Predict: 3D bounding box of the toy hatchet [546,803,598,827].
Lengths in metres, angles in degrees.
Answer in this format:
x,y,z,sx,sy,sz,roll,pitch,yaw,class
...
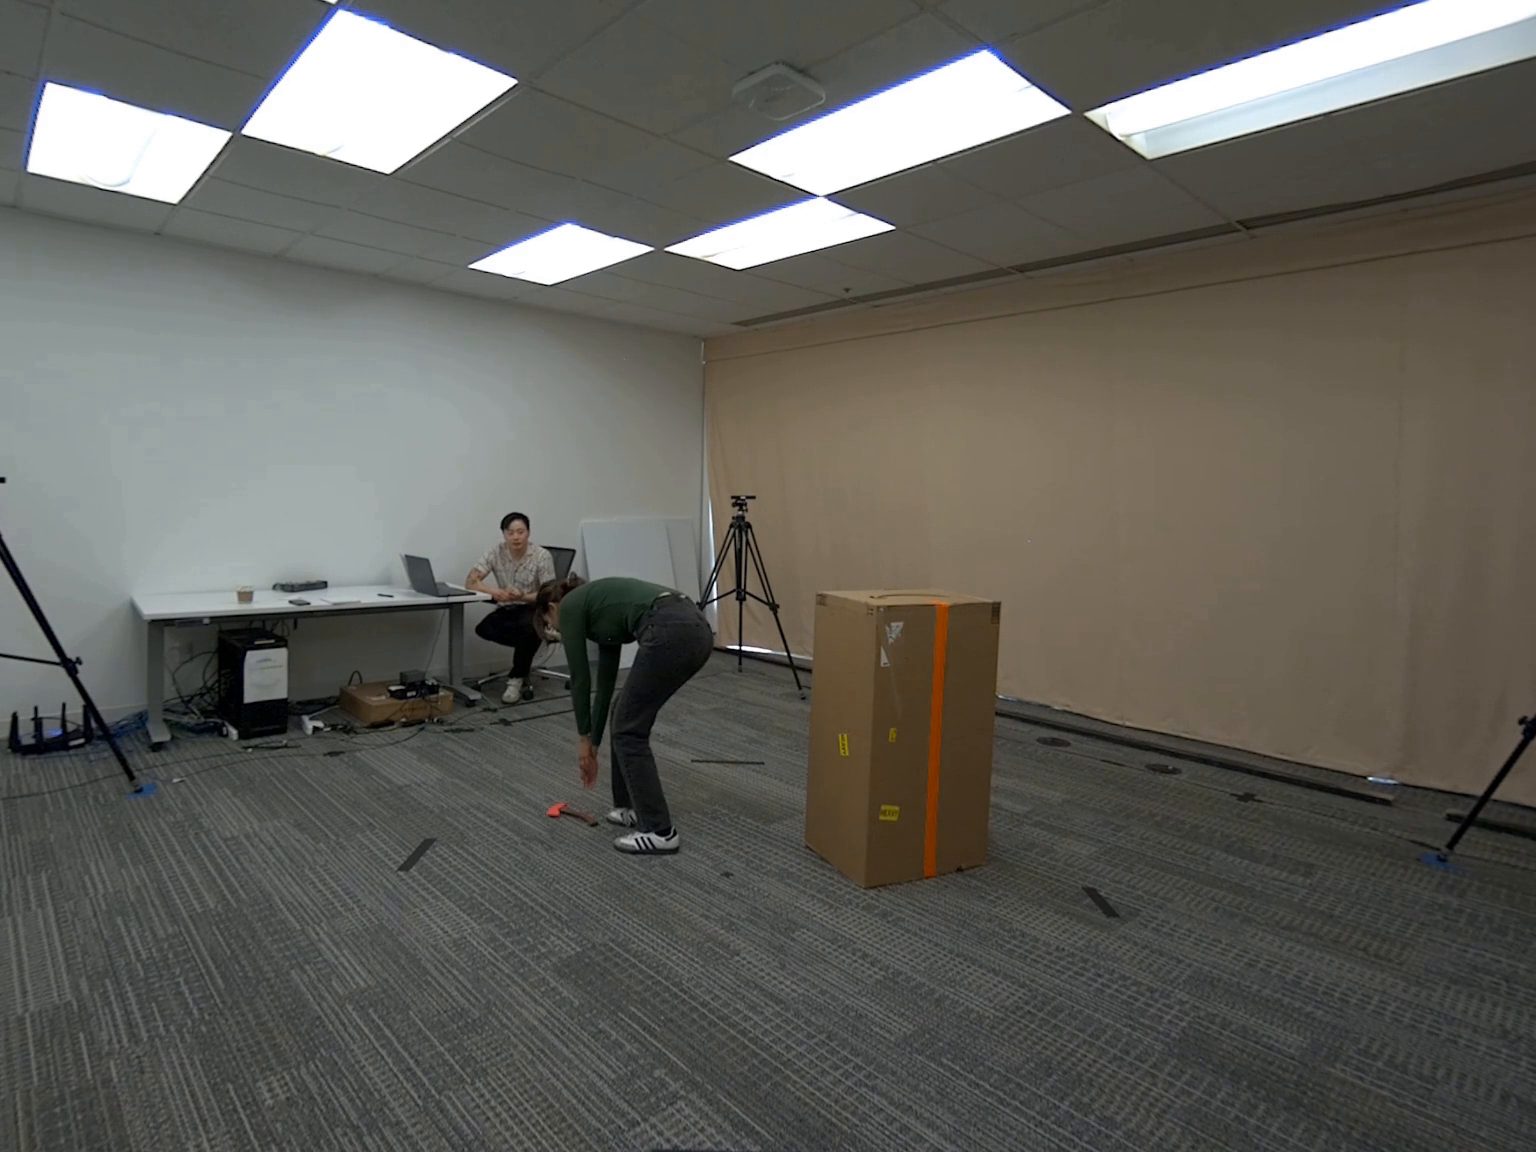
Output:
x,y,z,sx,sy,sz,roll,pitch,yaw,class
-0.849,1.022,3.597,0.128,0.029,0.277,-3,8,-42,toy hatchet
